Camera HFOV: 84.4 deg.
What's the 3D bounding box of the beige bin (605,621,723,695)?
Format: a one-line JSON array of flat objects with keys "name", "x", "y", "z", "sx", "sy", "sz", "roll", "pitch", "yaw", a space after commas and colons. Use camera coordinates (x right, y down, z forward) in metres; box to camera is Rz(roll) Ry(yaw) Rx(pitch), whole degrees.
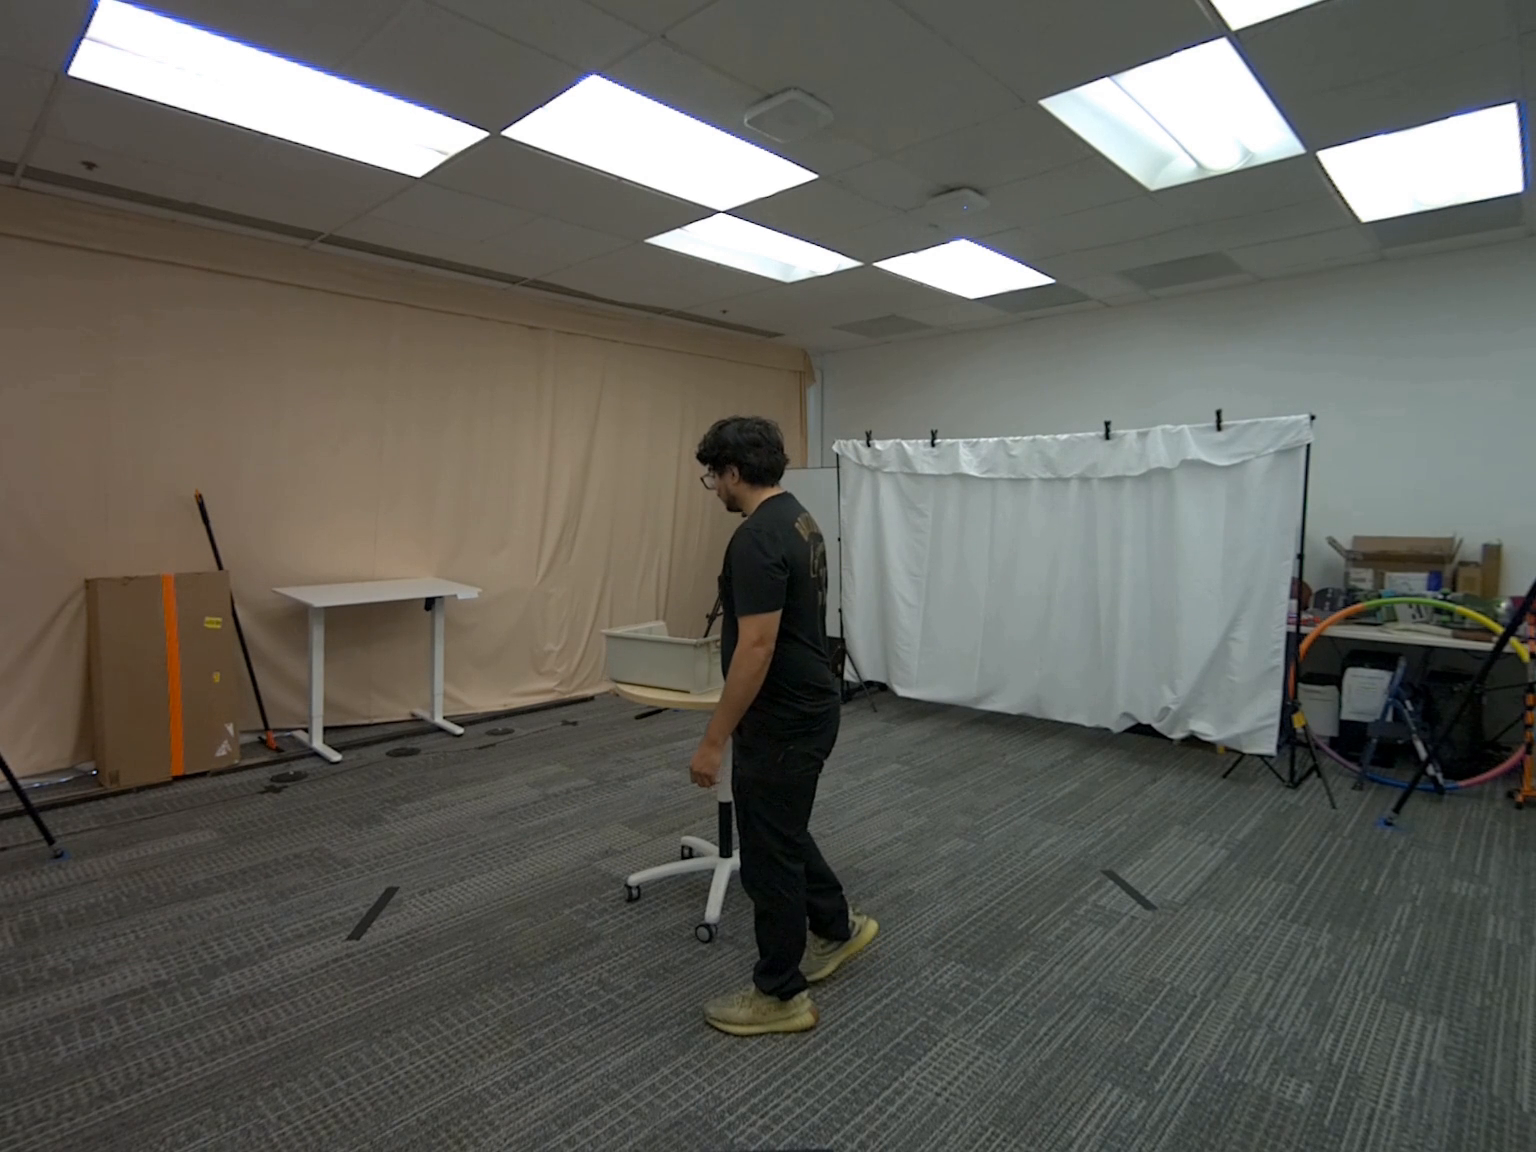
[{"name": "beige bin", "x": -0.302, "y": 0.277, "z": 2.961, "sx": 0.435, "sy": 0.188, "sz": 0.367, "roll": 3, "pitch": 7, "yaw": 34}]
